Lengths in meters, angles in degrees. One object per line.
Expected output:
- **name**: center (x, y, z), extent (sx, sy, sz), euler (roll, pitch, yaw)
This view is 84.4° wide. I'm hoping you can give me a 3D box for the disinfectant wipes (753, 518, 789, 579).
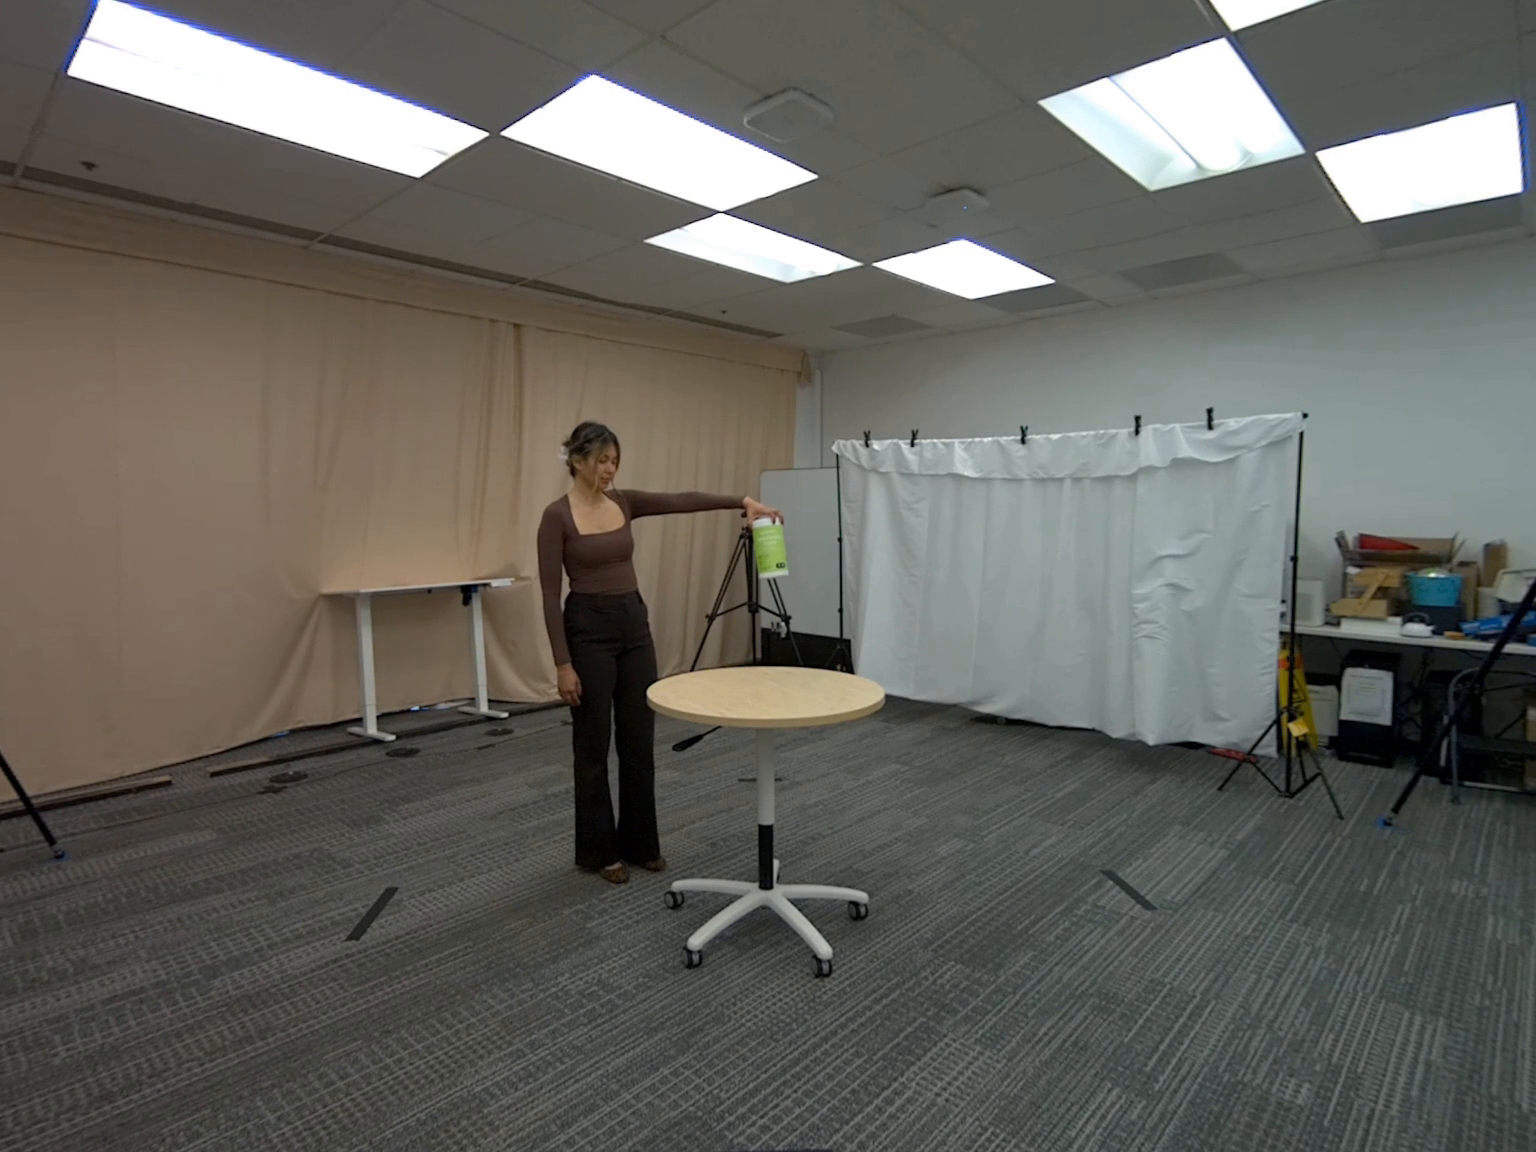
- **disinfectant wipes**: center (0.007, -0.098, 3.068), extent (0.117, 0.218, 0.117), euler (-7, -5, -2)
